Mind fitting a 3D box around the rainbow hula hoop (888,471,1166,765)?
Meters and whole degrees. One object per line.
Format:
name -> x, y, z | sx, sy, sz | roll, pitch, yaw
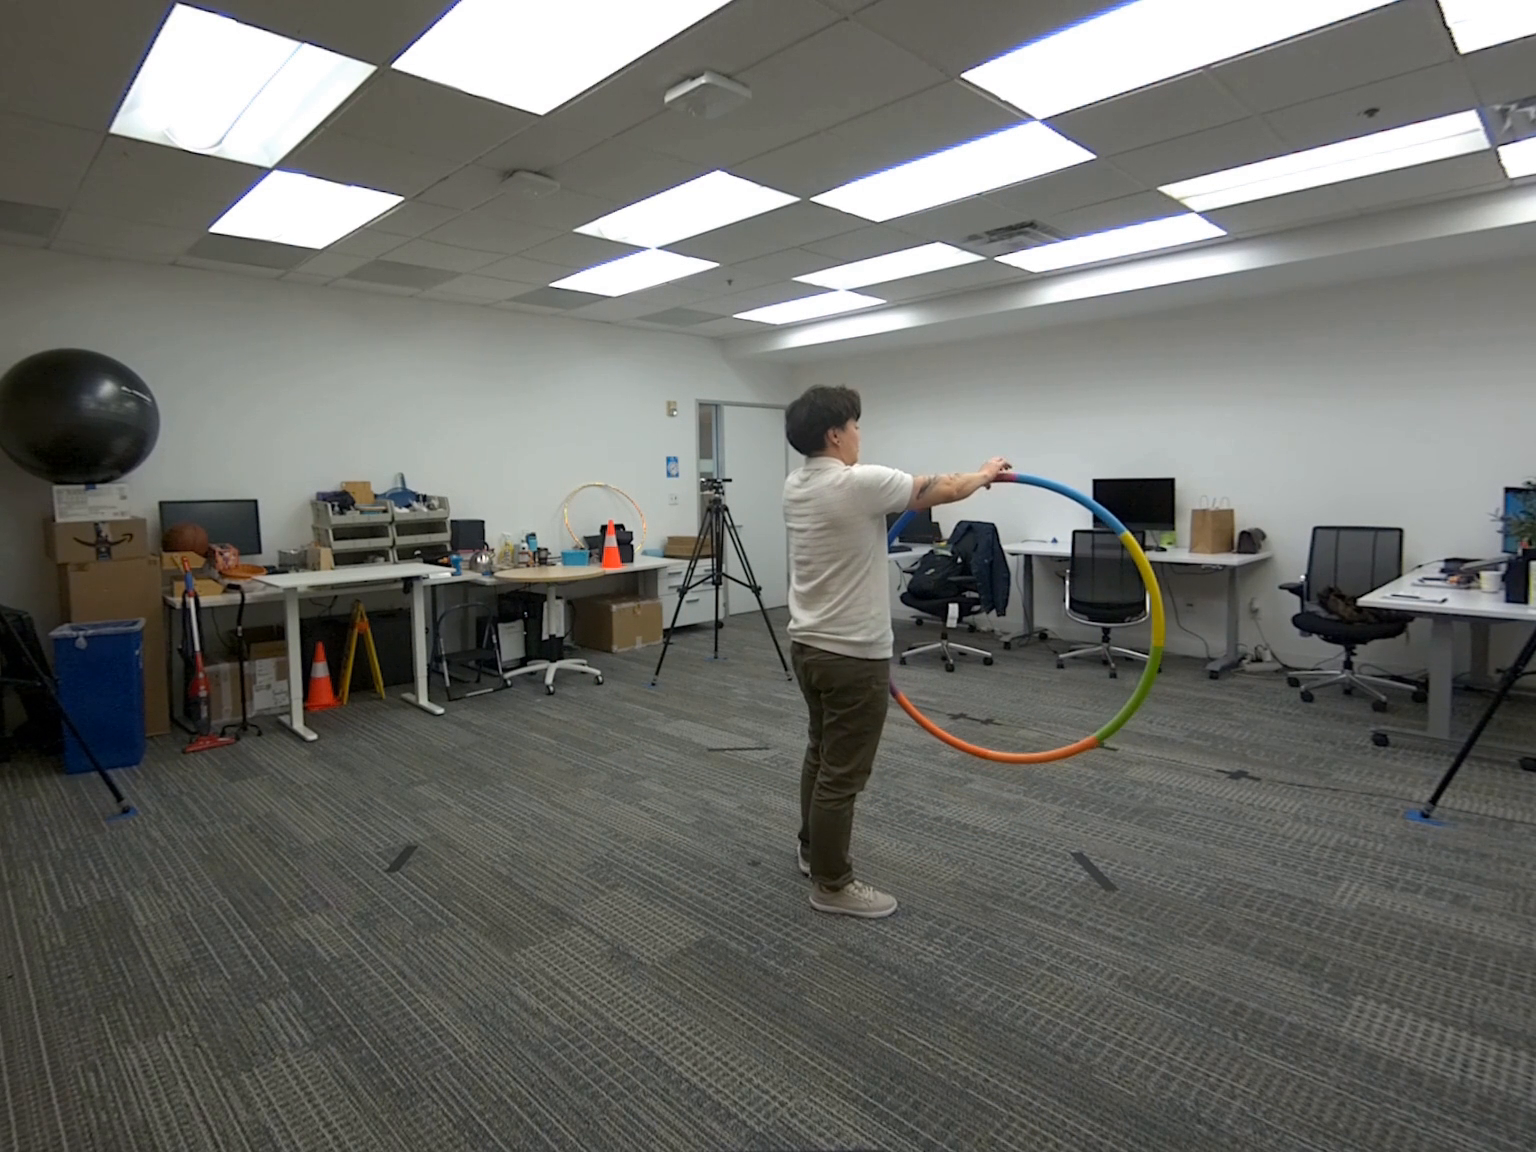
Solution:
rainbow hula hoop -> 0.786, 0.147, 2.920 | 1.004, 0.975, 0.035 | 2, 5, 30
